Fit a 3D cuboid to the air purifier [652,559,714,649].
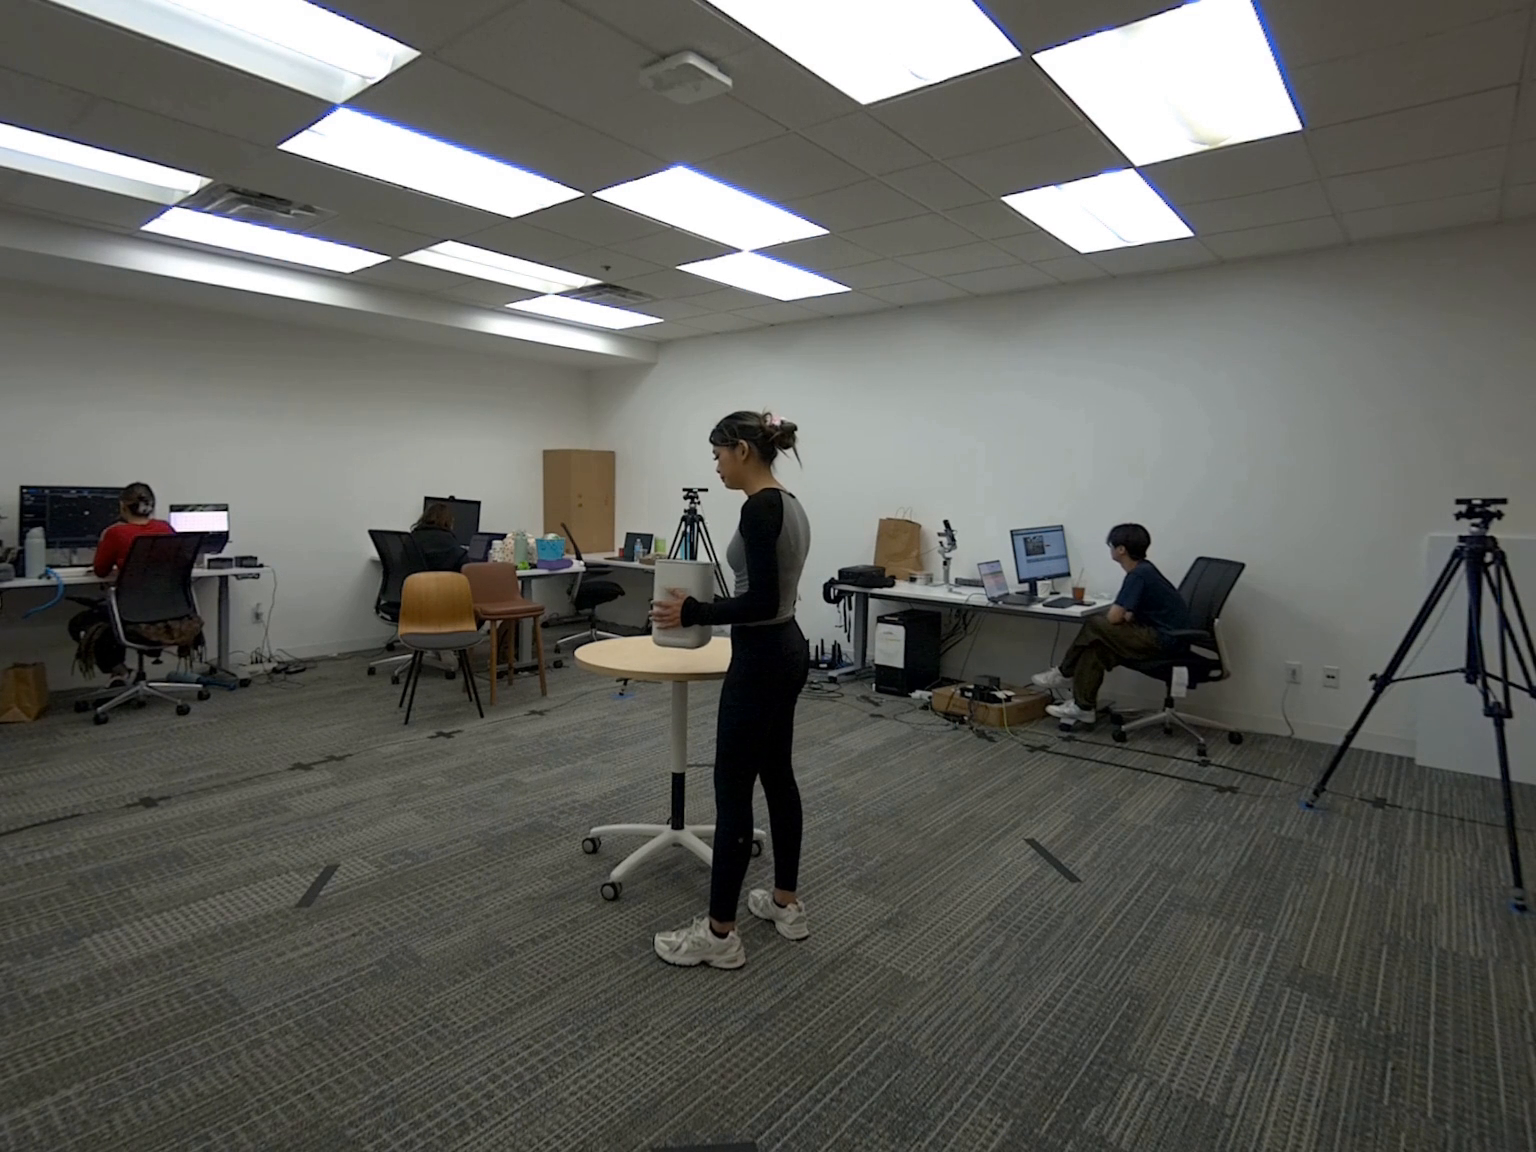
[{"bbox_3d":[-0.270,0.084,2.654,0.173,0.265,0.169,3,0,10],"label":"air purifier"}]
